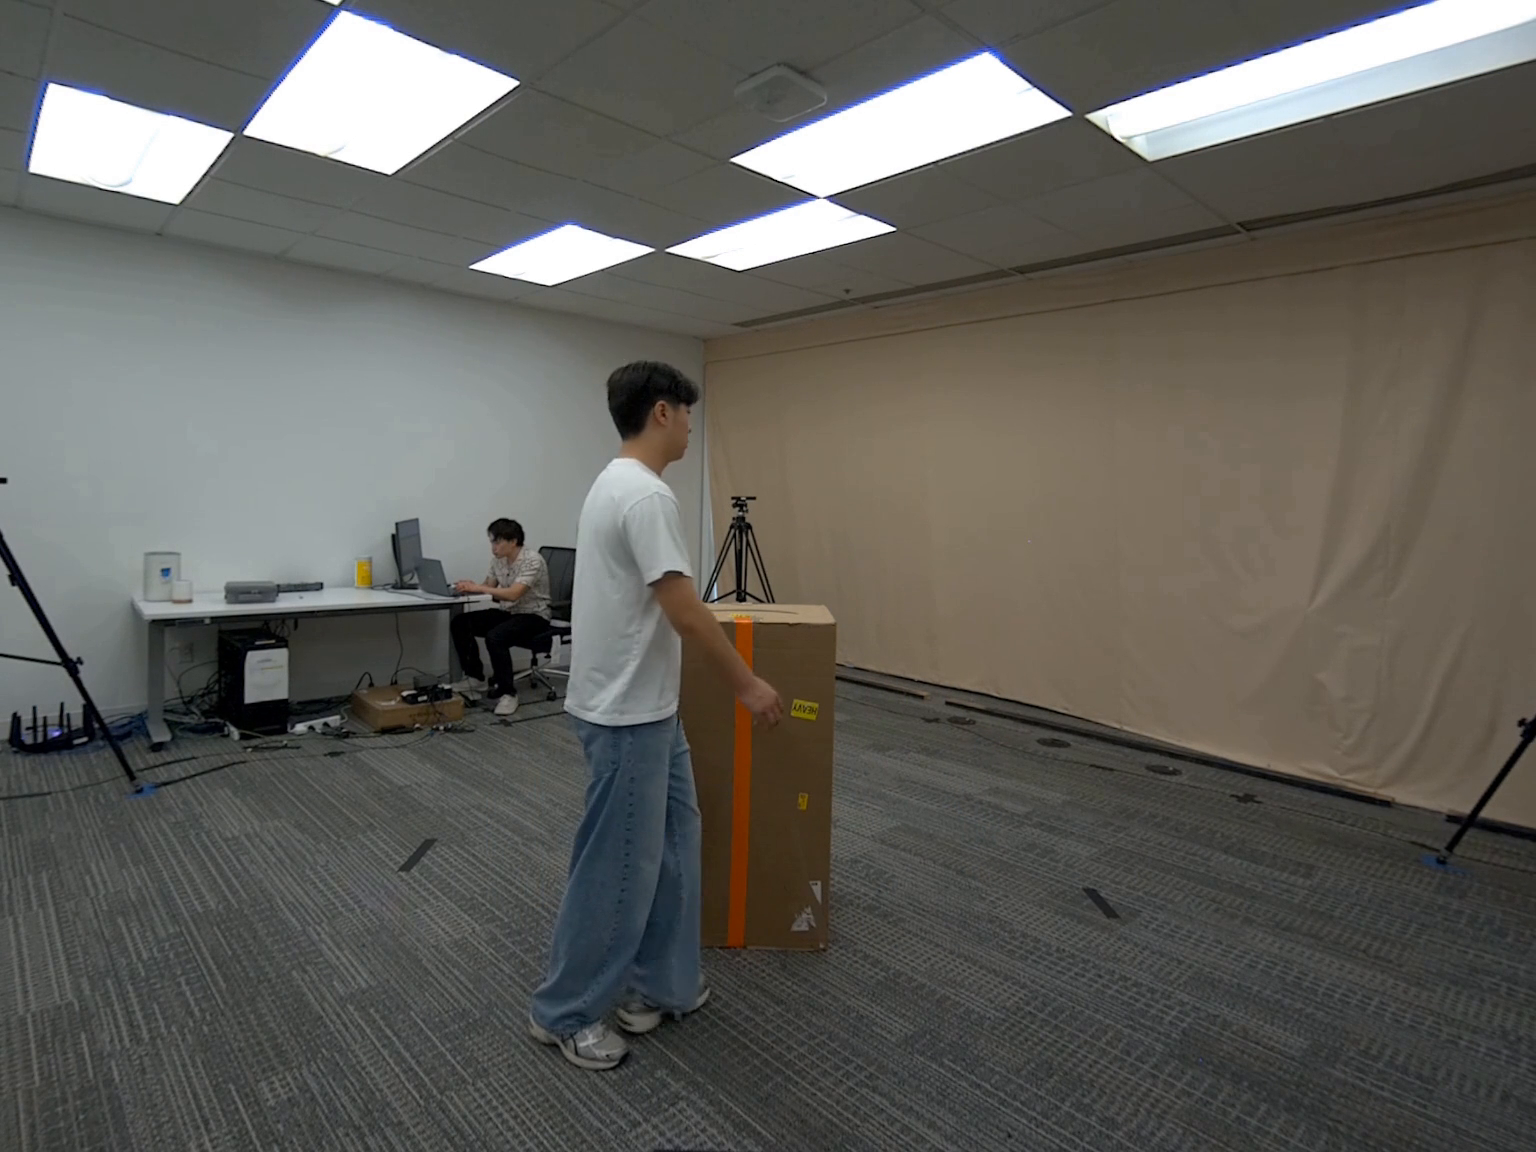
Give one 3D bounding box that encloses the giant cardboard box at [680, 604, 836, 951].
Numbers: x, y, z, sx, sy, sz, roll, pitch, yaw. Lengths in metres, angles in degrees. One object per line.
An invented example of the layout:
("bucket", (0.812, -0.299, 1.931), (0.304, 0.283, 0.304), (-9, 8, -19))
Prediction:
("giant cardboard box", (-0.095, 0.626, 2.786), (0.578, 1.023, 0.427), (1, 3, 0))
